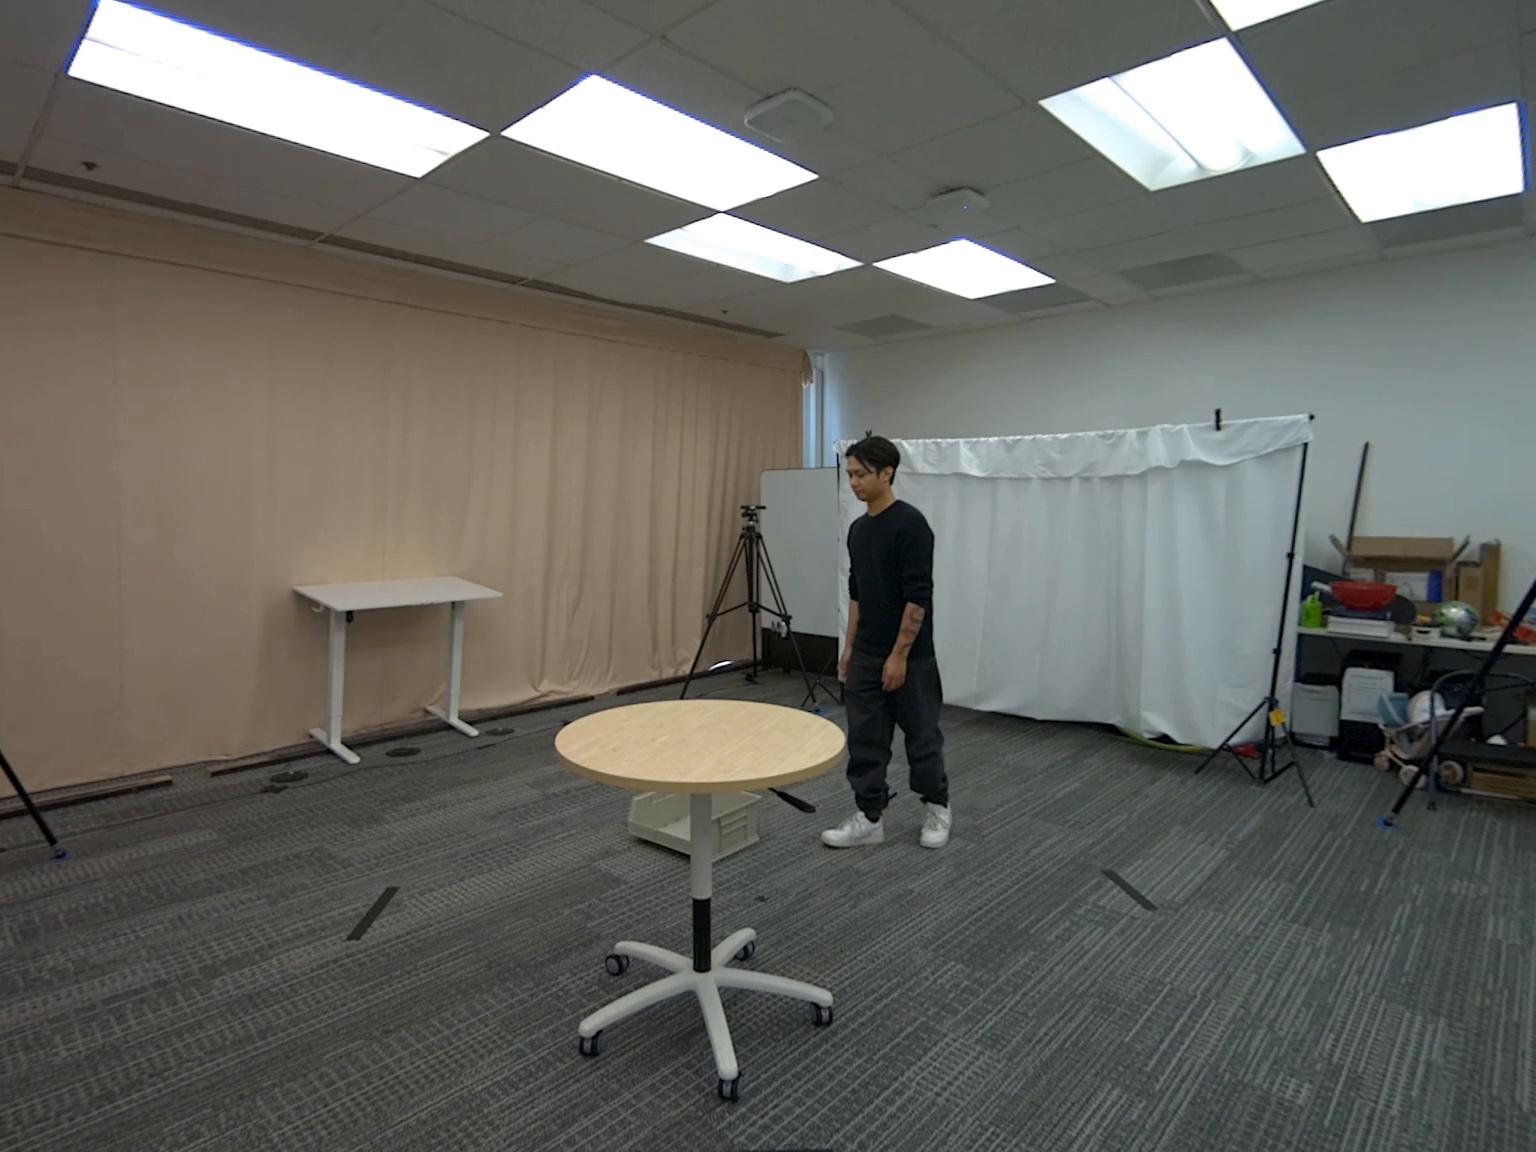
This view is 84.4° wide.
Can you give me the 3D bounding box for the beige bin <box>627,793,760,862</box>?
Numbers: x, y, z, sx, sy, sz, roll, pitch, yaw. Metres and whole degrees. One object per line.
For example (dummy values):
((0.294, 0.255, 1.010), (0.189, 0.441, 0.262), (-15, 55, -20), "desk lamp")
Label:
((-0.302, 1.013, 3.508), (0.436, 0.188, 0.366), (3, 4, 39), "beige bin")
